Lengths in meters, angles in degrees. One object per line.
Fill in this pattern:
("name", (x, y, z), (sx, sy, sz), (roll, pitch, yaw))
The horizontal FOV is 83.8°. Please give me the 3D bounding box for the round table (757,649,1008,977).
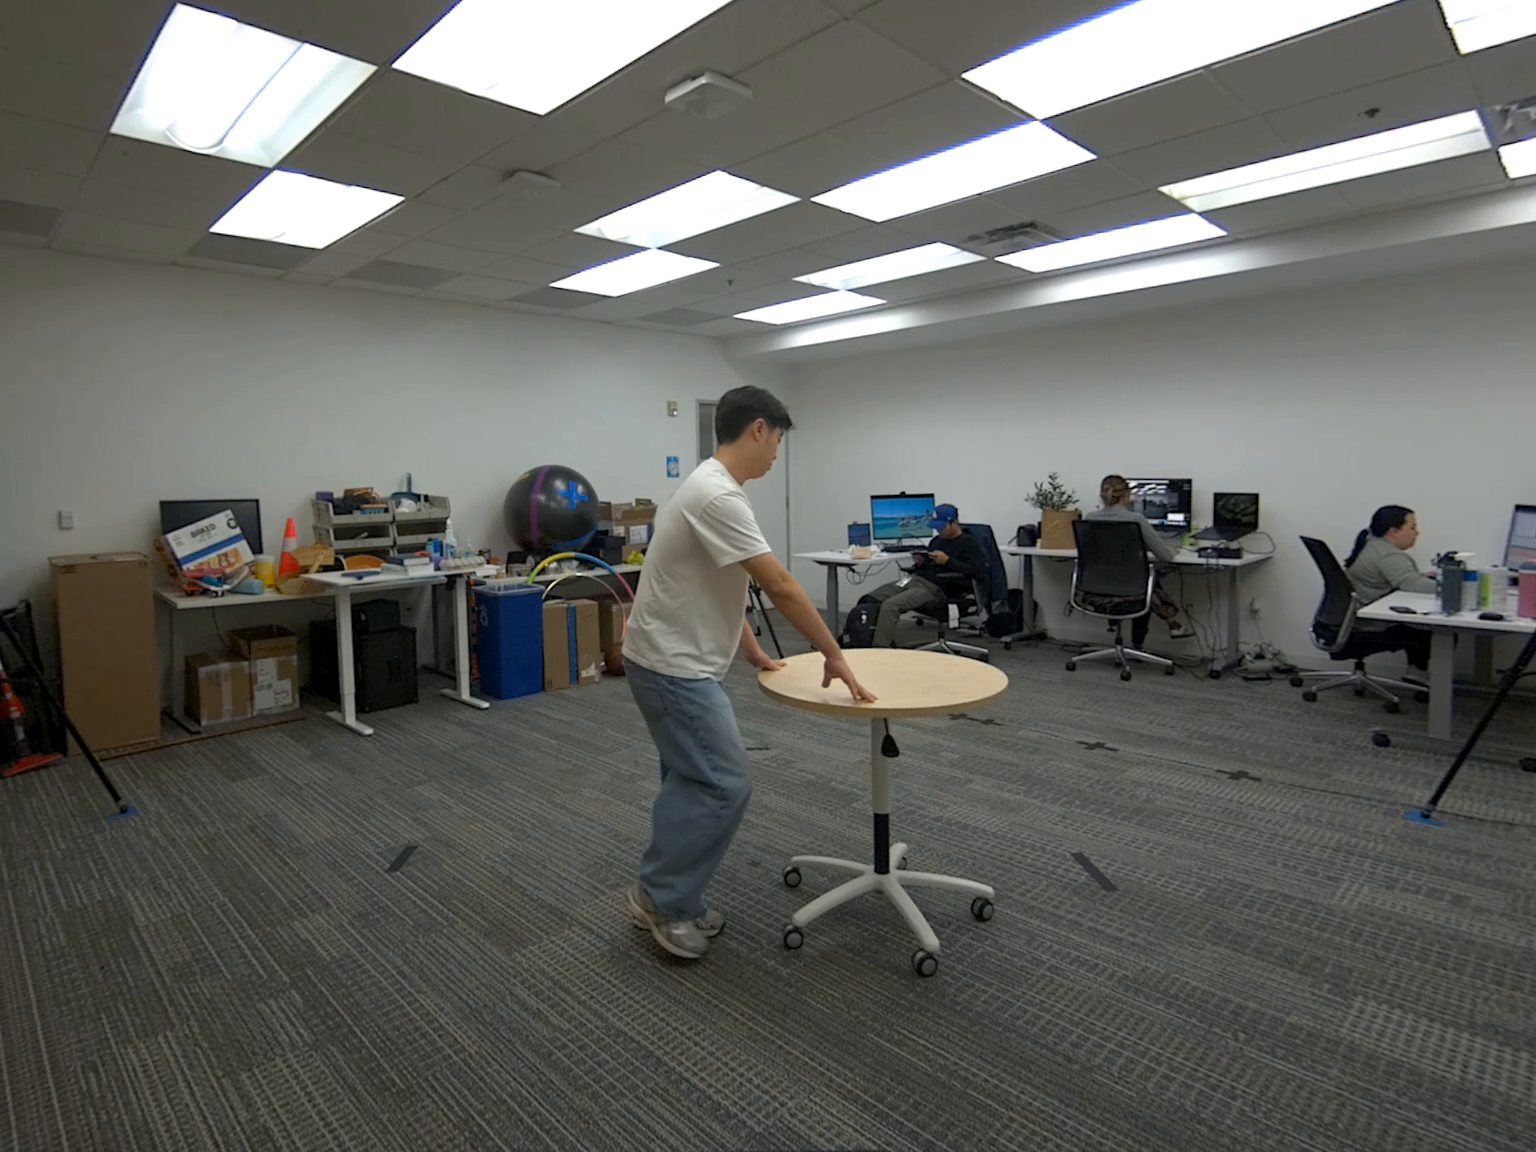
("round table", (0.354, 0.696, 2.707), (0.763, 0.791, 0.768), (-1, 5, -2))
